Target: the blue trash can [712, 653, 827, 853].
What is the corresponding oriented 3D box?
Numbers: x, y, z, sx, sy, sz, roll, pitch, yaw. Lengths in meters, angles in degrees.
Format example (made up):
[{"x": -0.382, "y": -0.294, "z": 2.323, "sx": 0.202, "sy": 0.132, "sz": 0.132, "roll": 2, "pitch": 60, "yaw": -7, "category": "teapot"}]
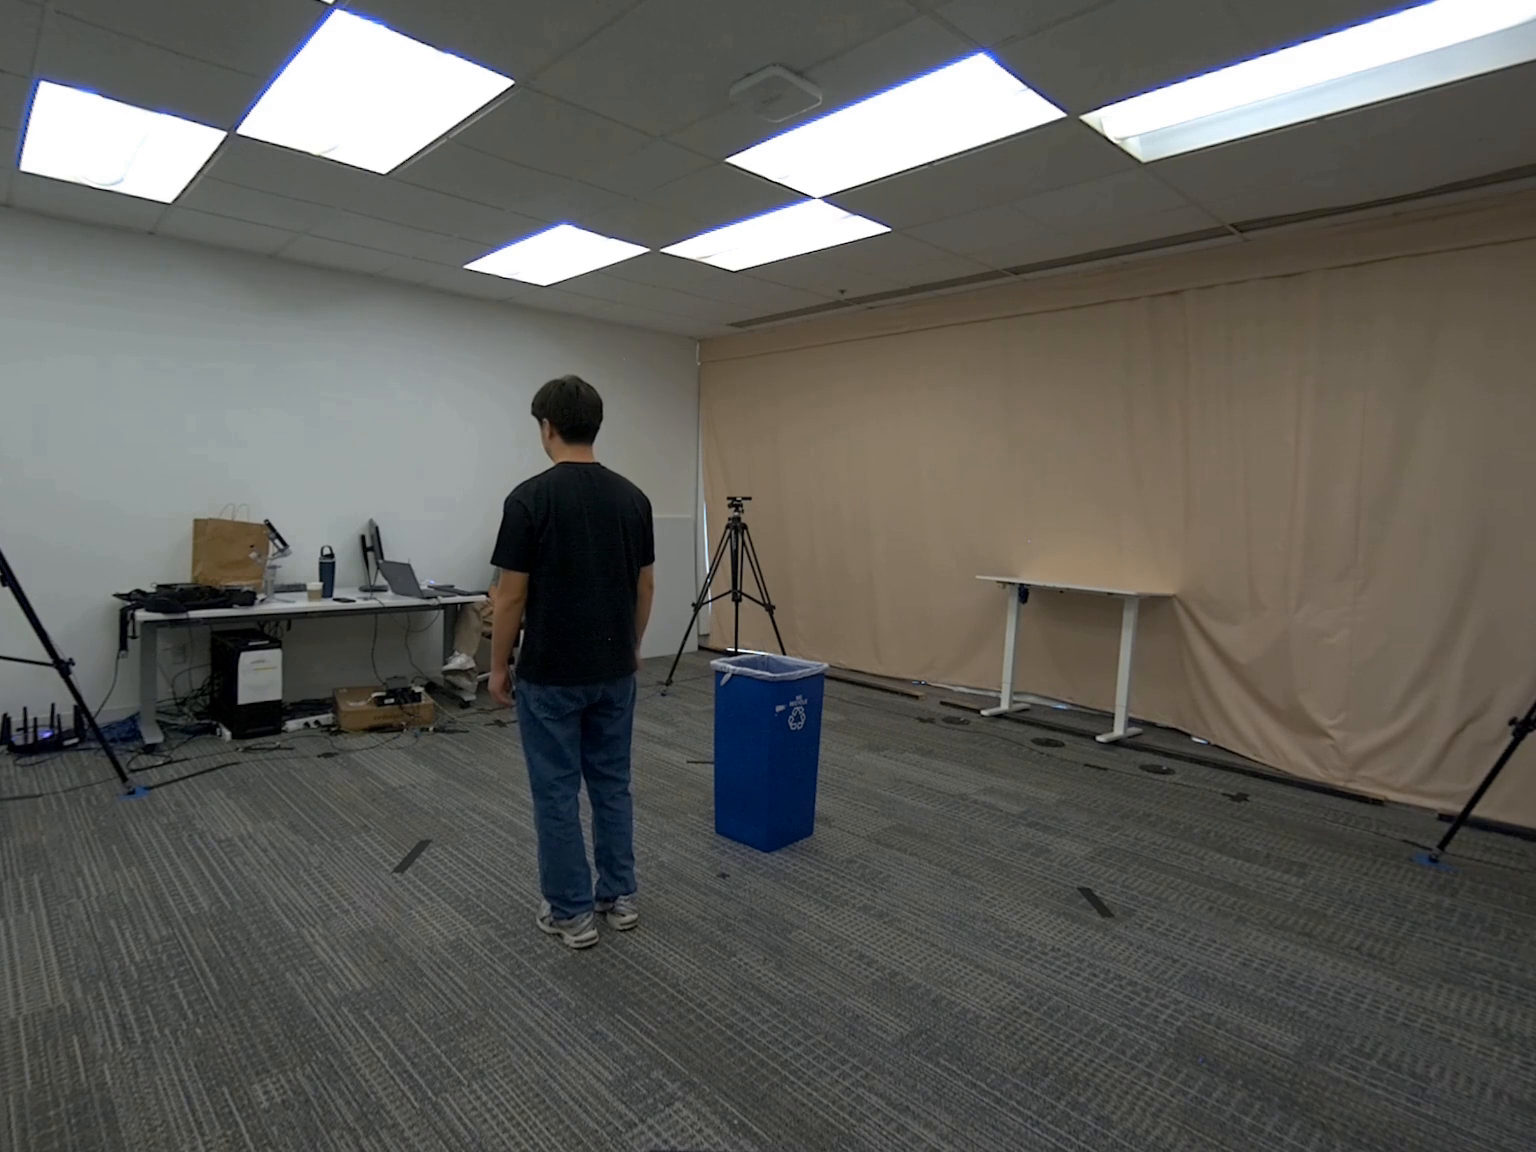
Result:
[{"x": -0.009, "y": 0.717, "z": 3.507, "sx": 0.388, "sy": 0.712, "sz": 0.365, "roll": 5, "pitch": 5, "yaw": 42, "category": "blue trash can"}]
